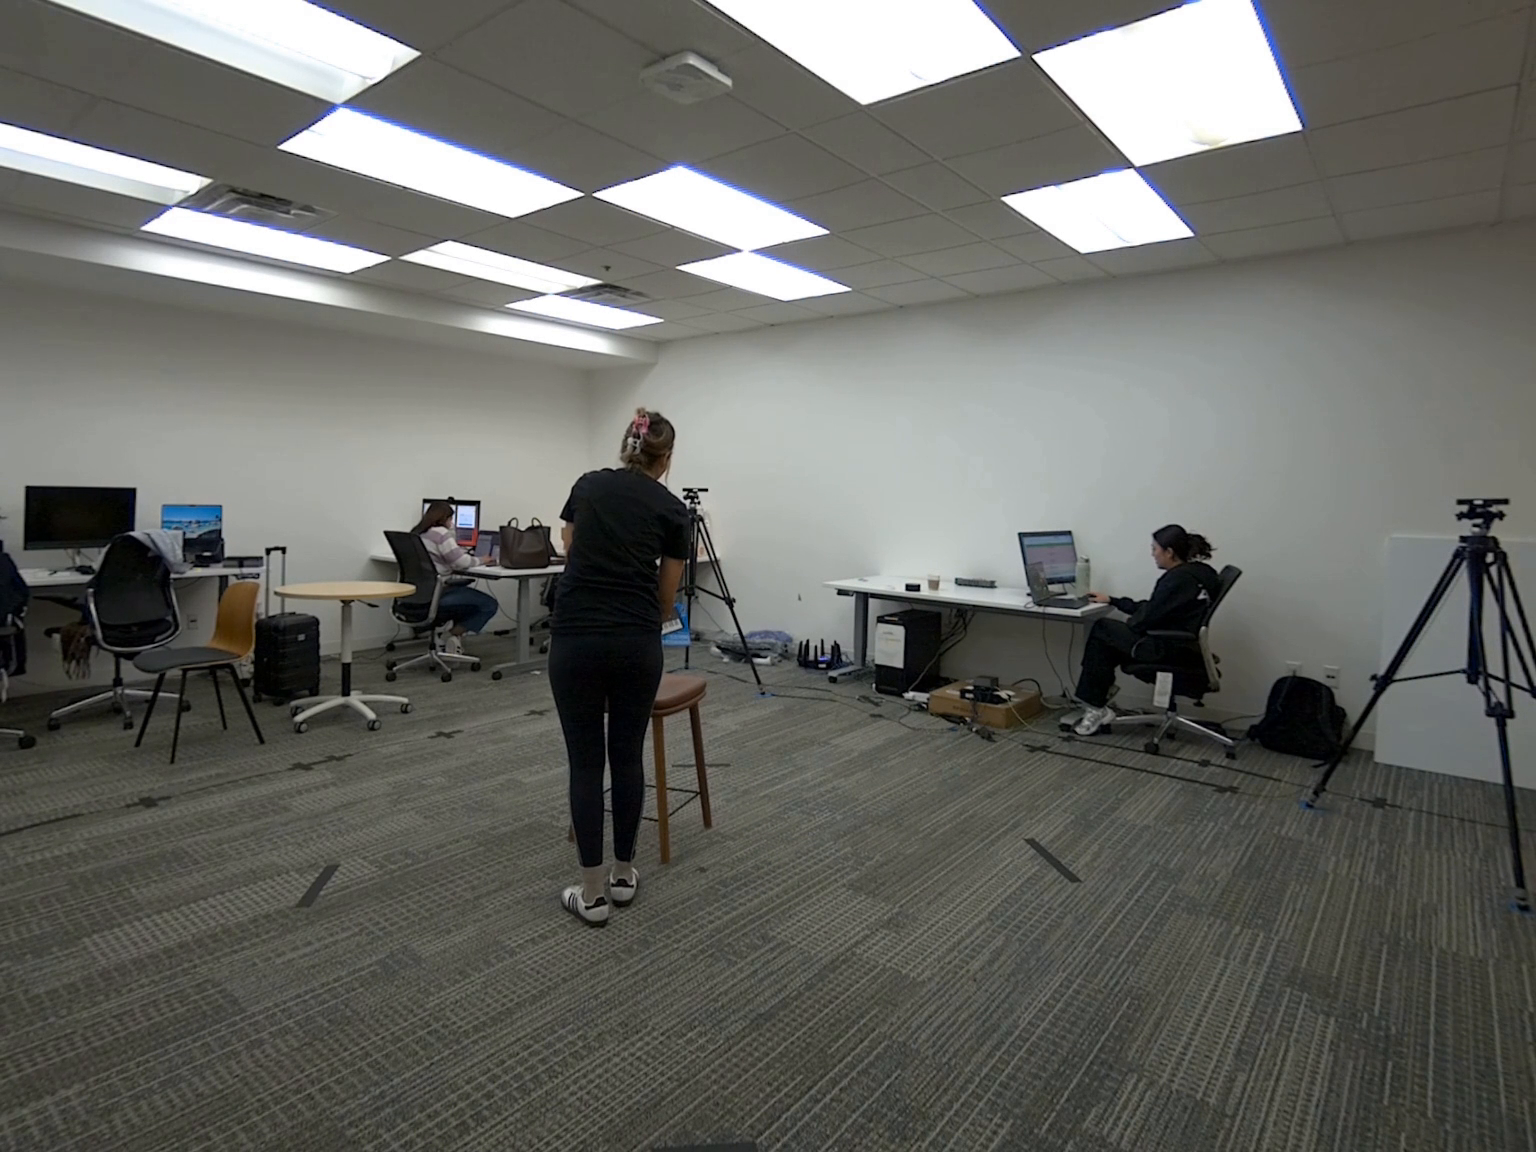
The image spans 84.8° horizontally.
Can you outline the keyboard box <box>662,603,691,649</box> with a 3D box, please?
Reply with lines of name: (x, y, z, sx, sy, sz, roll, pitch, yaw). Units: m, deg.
keyboard box: (-0.468, 0.194, 3.329, 0.060, 0.178, 0.423, -15, -12, 29)
